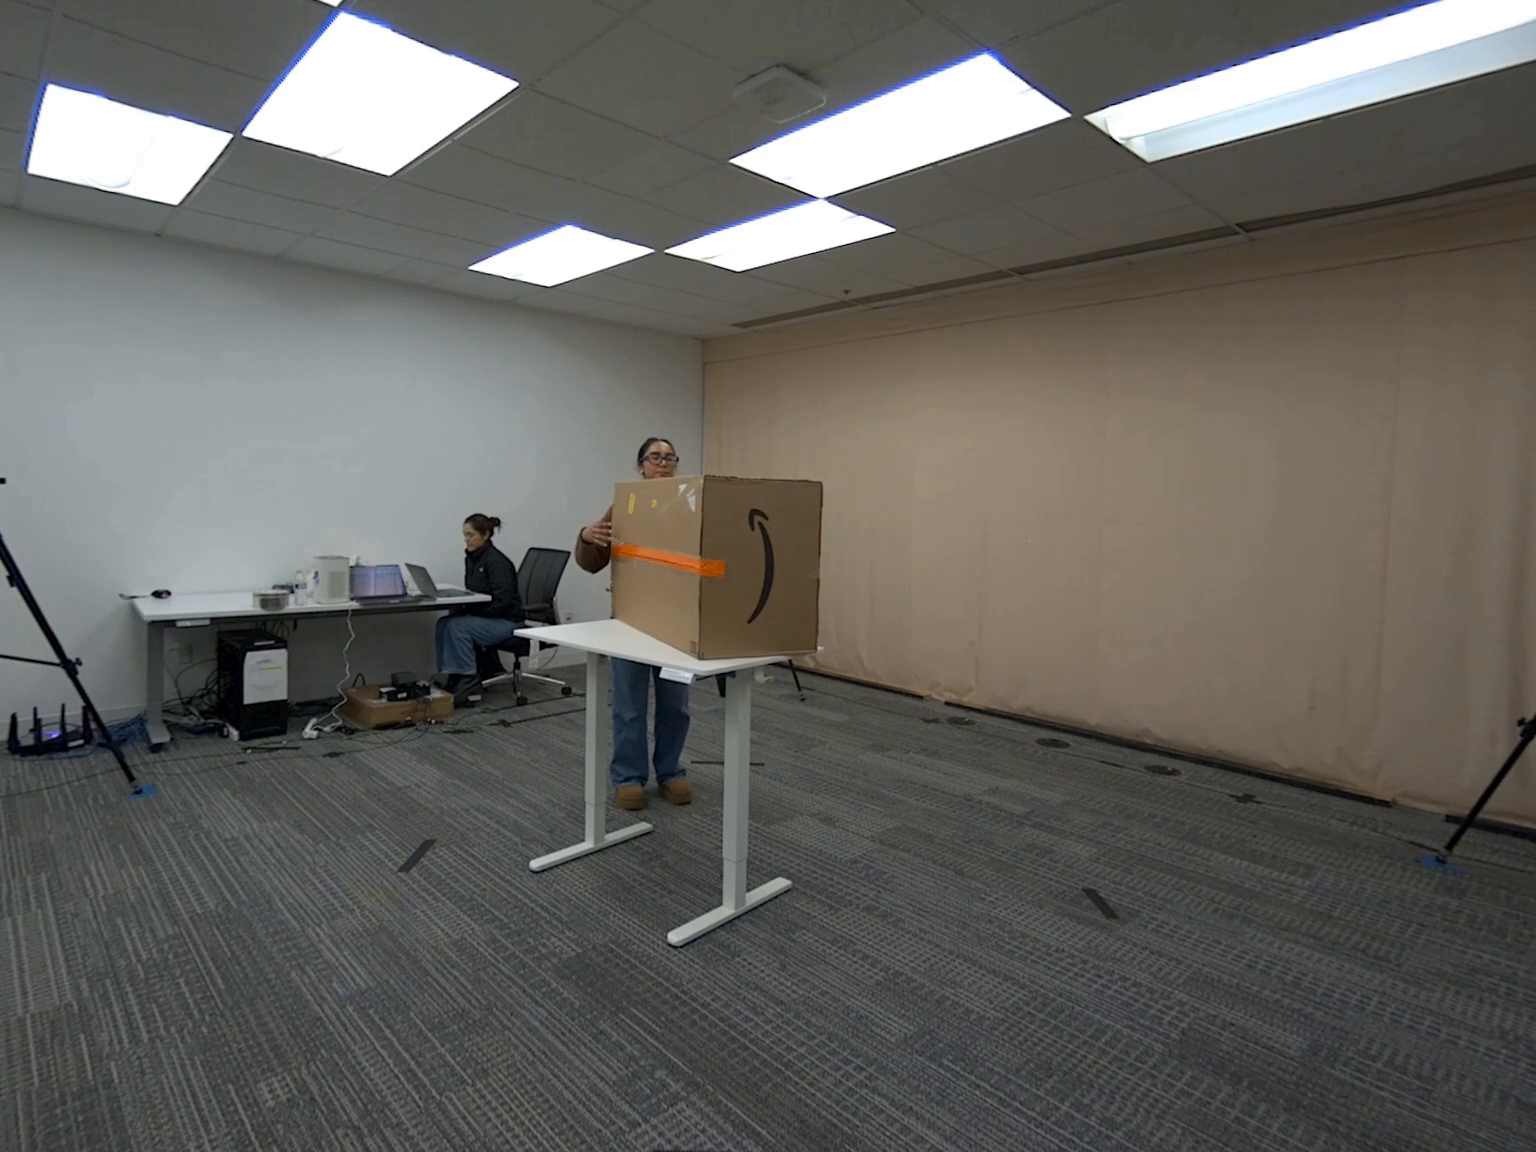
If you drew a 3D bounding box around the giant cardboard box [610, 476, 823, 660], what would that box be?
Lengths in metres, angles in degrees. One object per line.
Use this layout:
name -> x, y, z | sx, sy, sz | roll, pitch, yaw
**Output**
giant cardboard box -> -0.247, -0.065, 3.155 | 0.418, 0.576, 1.047 | 1, 4, -26
